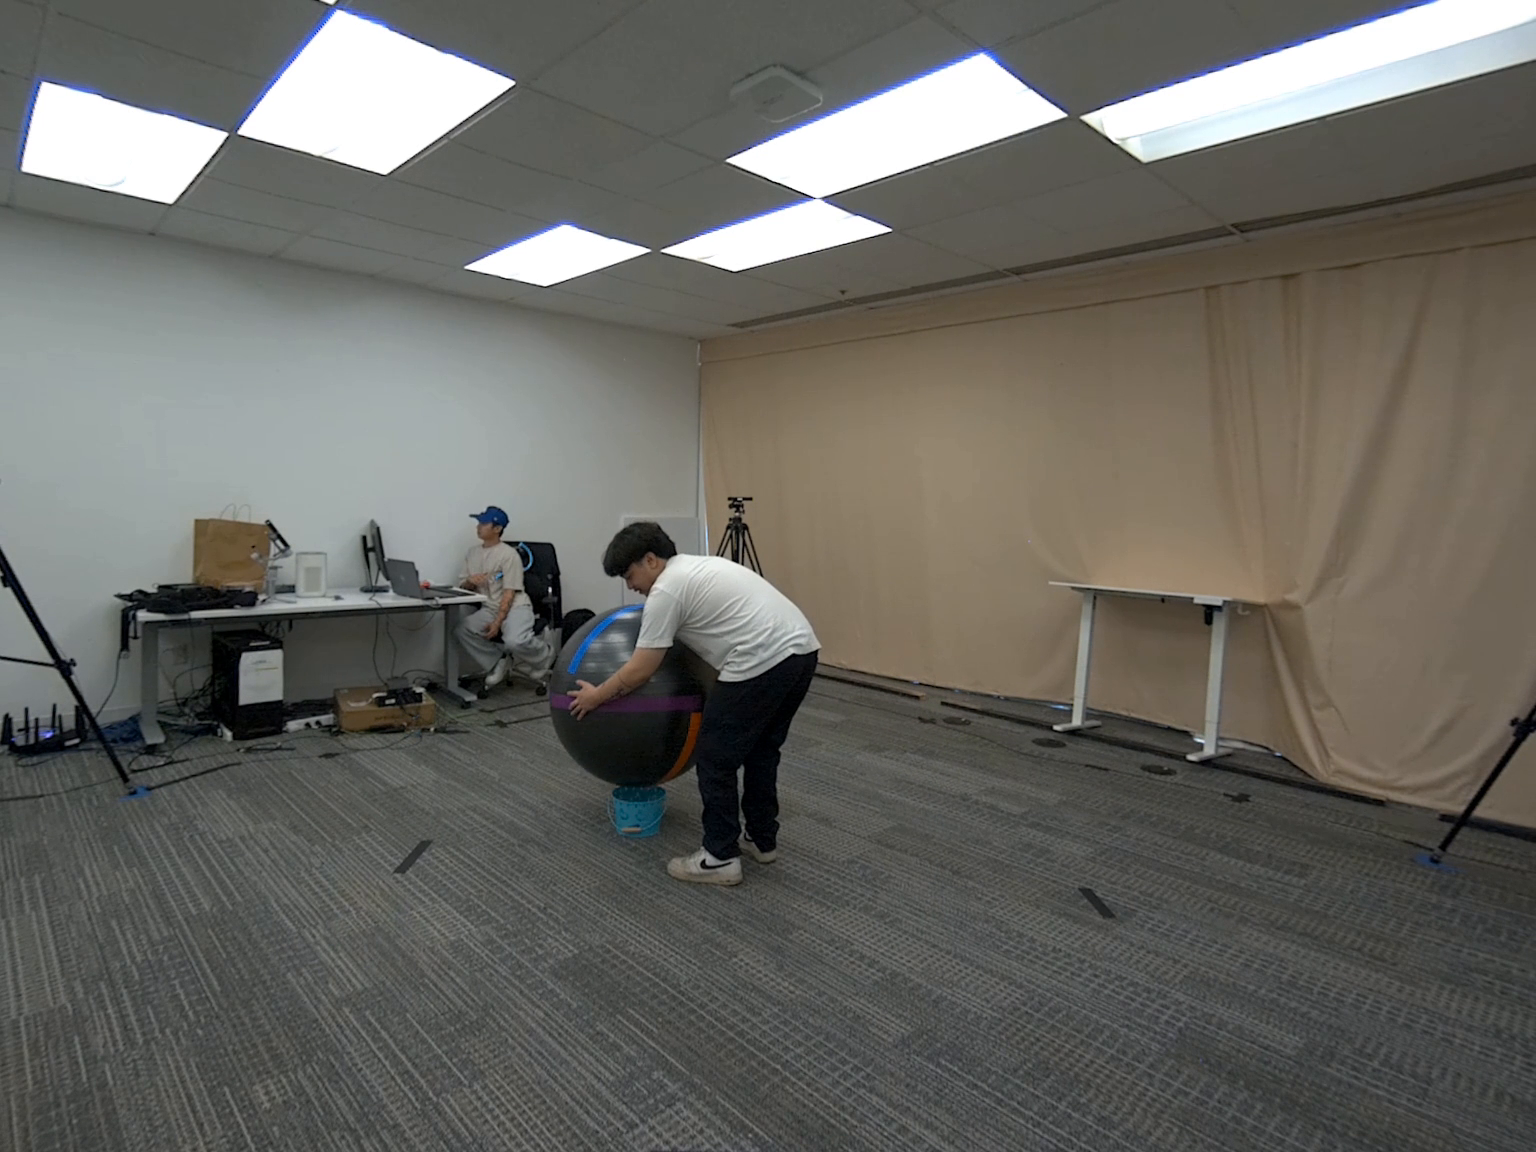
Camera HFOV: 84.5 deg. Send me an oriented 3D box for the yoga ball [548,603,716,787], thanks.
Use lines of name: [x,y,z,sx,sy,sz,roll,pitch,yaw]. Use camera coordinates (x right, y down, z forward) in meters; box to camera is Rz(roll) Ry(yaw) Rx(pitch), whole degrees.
yoga ball: [-0.560,0.507,3.597,0.757,0.756,0.761,1,4,-1]
